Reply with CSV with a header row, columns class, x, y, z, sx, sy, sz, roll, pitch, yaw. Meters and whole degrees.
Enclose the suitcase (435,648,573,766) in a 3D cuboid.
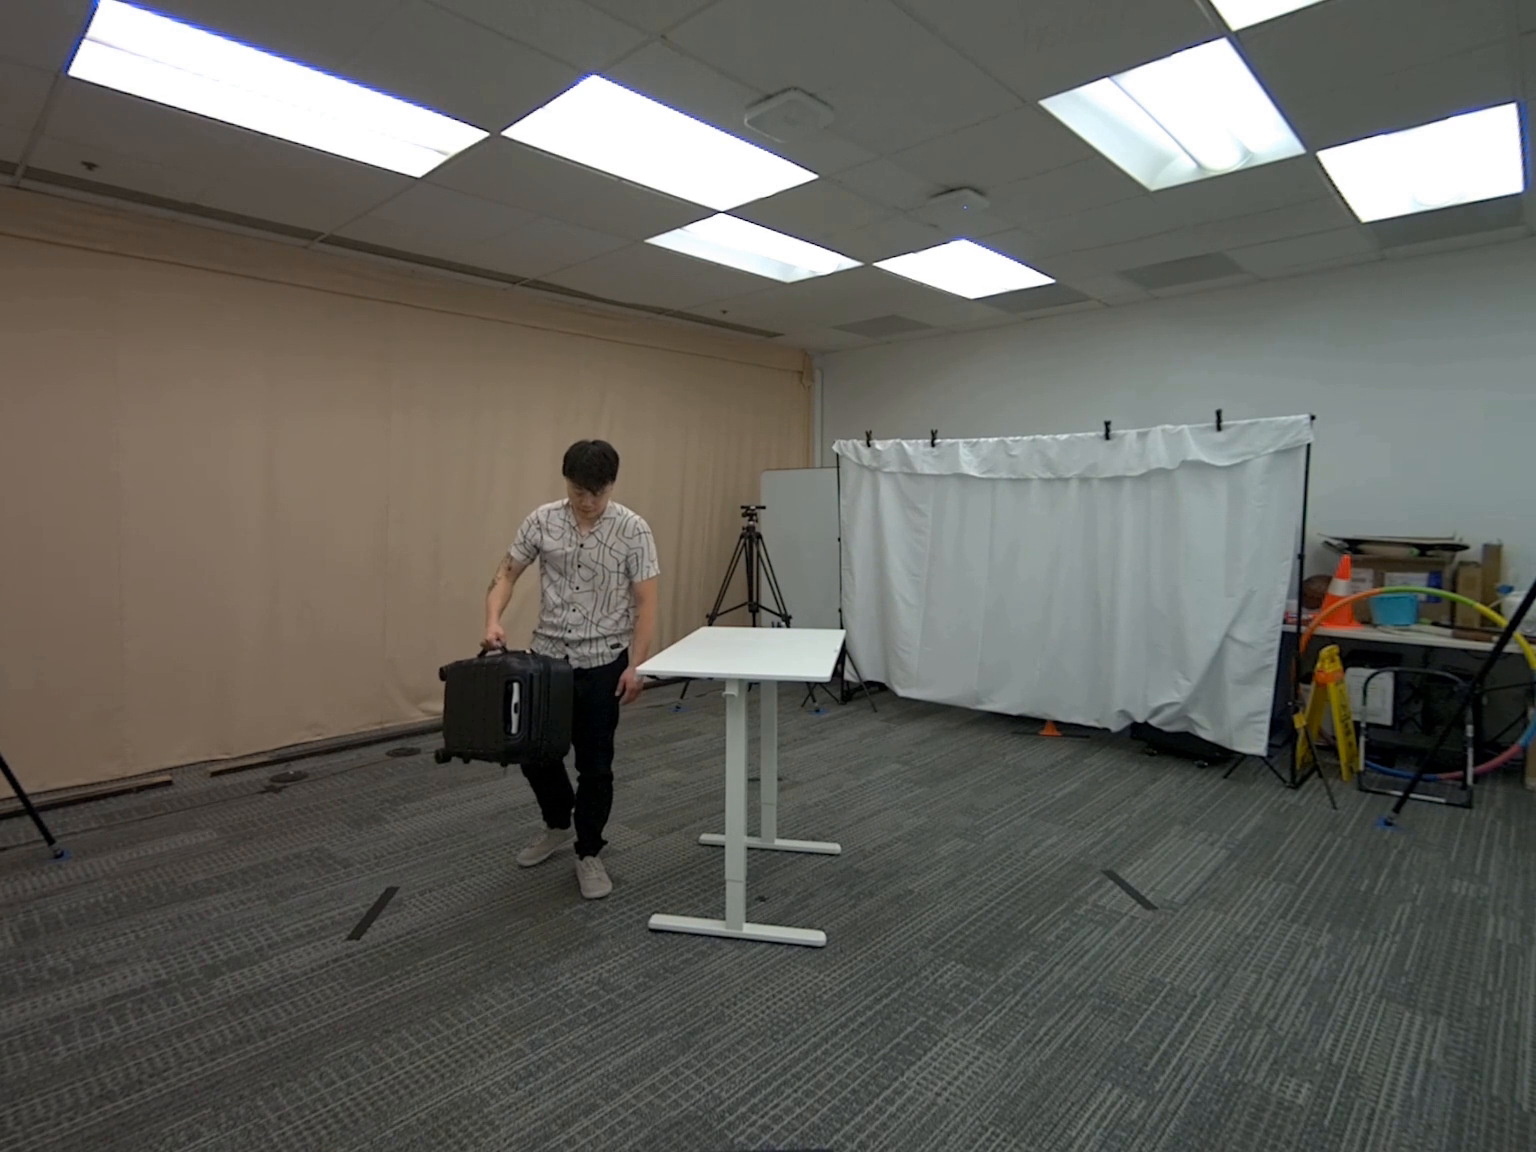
class,x,y,z,sx,sy,sz,roll,pitch,yaw
suitcase,-0.914,0.455,2.925,0.240,0.378,0.565,10,-15,-43
